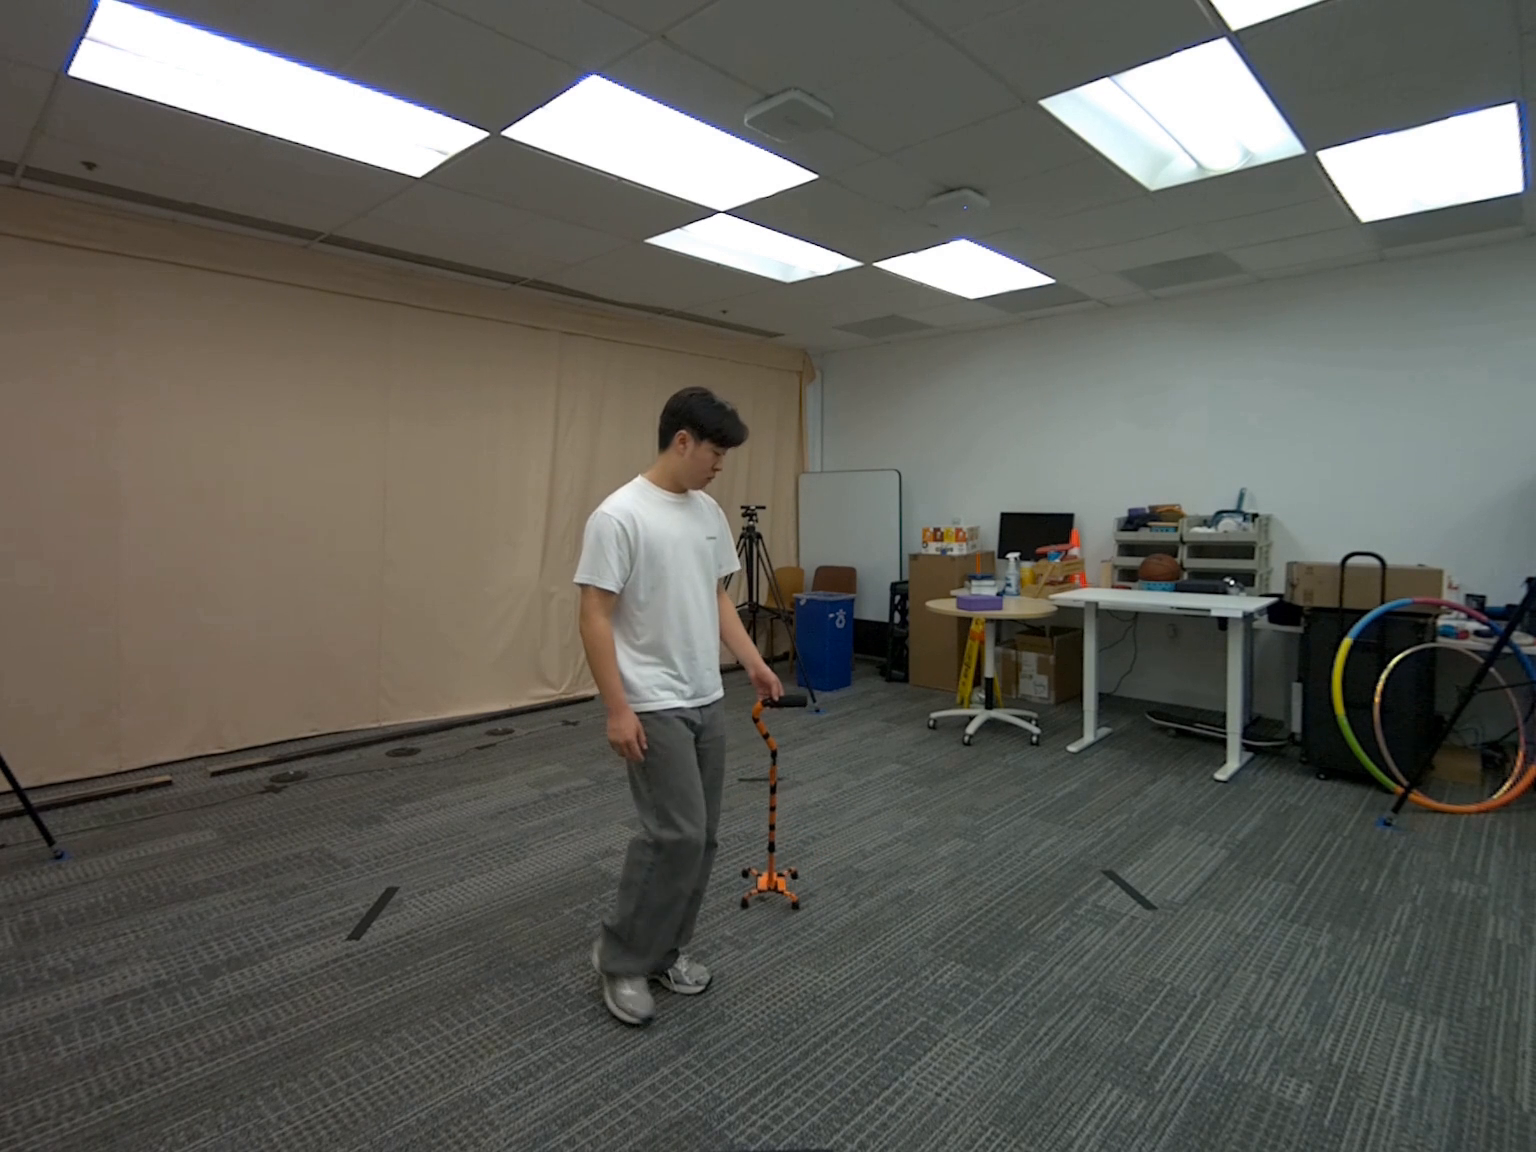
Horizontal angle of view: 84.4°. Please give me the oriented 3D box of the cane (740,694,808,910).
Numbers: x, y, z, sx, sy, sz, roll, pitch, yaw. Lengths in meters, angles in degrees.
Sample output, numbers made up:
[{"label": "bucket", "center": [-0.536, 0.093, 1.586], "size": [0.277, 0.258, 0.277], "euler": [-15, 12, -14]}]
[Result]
[{"label": "cane", "center": [0.018, 0.740, 2.736], "size": [0.207, 0.892, 0.154], "euler": [2, 32, 2]}]
